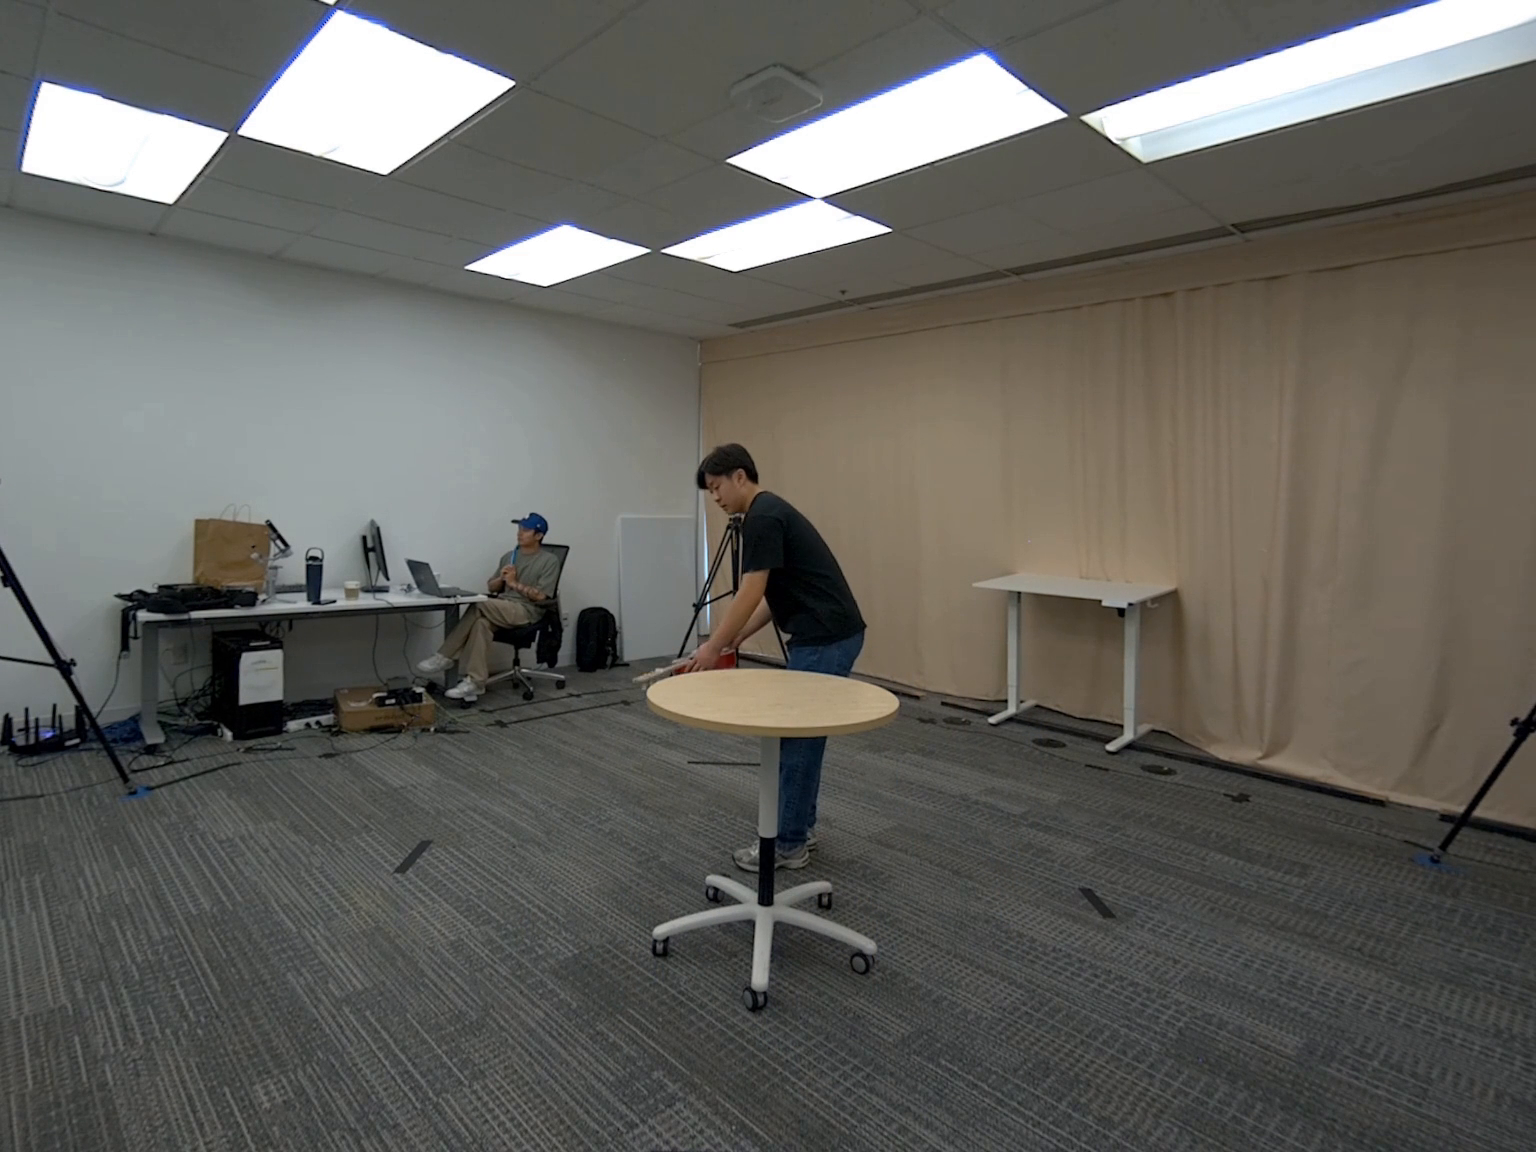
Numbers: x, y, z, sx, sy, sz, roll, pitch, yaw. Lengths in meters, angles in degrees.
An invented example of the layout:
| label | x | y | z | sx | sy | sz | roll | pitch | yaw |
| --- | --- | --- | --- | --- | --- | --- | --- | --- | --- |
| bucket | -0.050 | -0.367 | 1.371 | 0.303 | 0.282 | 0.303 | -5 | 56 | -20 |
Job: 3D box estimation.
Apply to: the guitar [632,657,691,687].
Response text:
| label | x | y | z | sx | sy | sz | roll | pitch | yaw |
| --- | --- | --- | --- | --- | --- | --- | --- | --- | --- |
| guitar | -0.354 | 0.362 | 3.258 | 0.488 | 0.070 | 0.198 | -13 | 11 | -42 |
